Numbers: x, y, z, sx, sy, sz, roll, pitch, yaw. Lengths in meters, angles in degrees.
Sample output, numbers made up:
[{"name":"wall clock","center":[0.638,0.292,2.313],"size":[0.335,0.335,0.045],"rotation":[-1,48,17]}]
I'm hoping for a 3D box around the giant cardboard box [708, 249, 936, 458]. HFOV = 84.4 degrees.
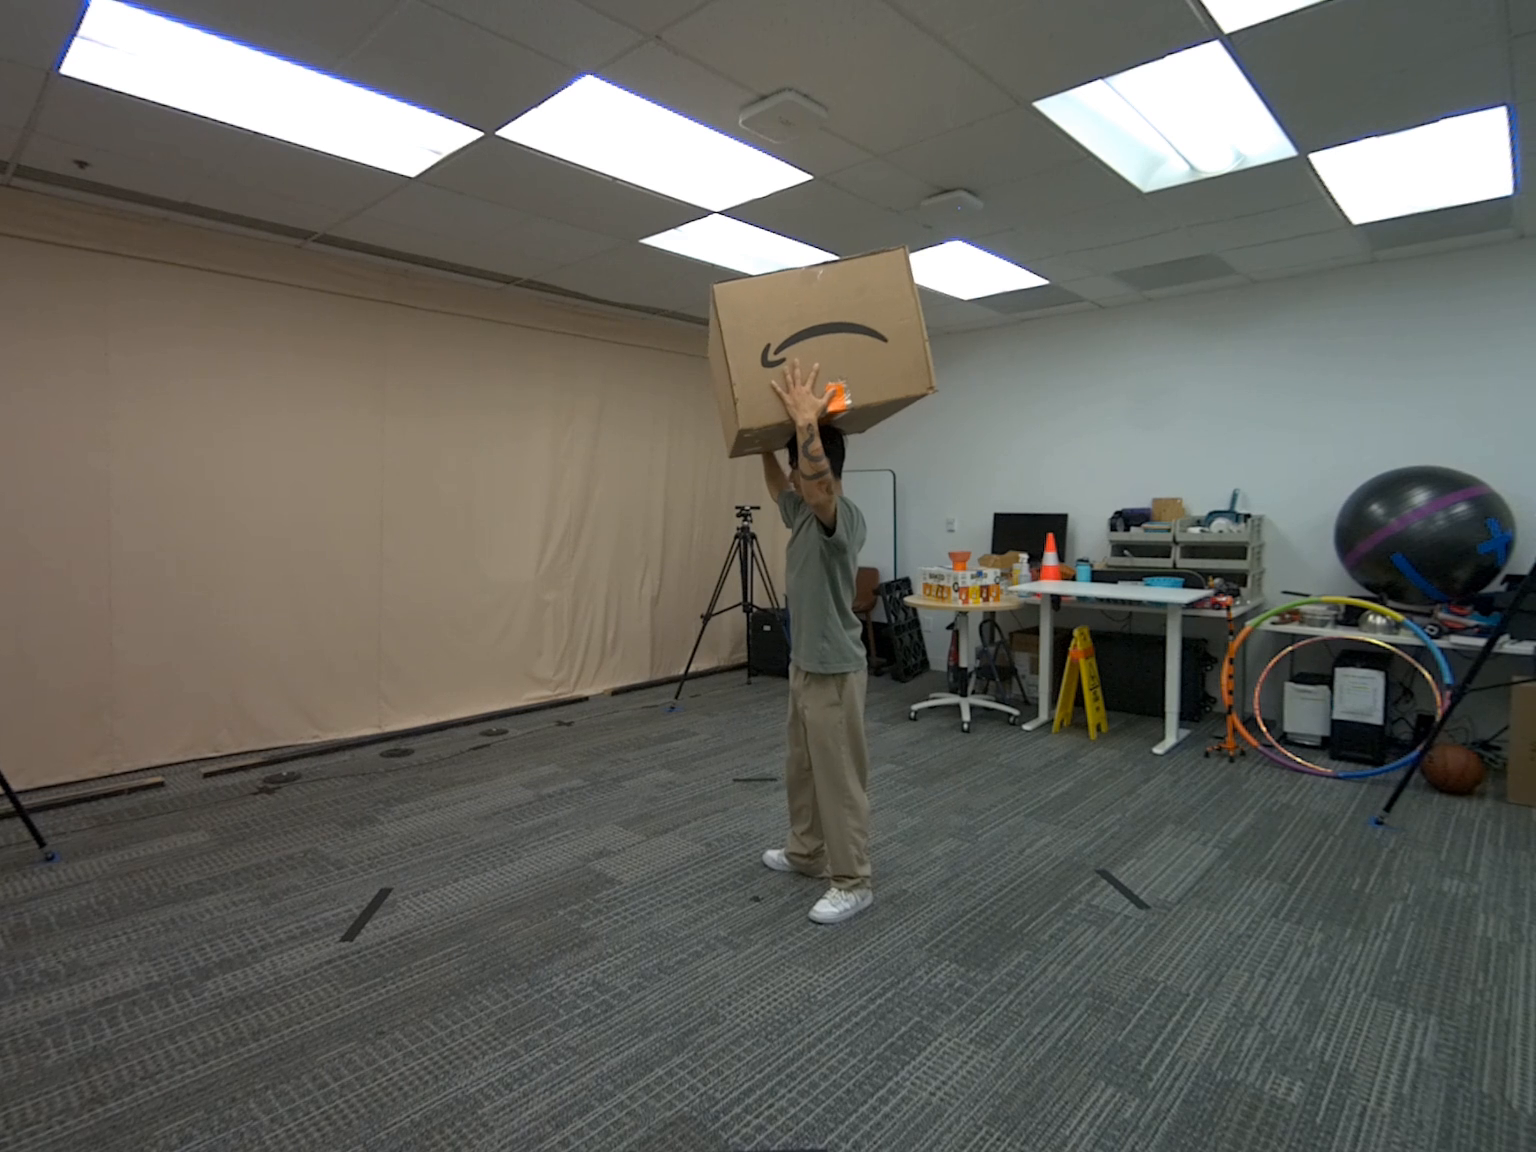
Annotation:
[{"name":"giant cardboard box","center":[0.120,-0.710,2.898],"size":[0.577,0.425,1.029],"rotation":[-12,4,-2]}]
